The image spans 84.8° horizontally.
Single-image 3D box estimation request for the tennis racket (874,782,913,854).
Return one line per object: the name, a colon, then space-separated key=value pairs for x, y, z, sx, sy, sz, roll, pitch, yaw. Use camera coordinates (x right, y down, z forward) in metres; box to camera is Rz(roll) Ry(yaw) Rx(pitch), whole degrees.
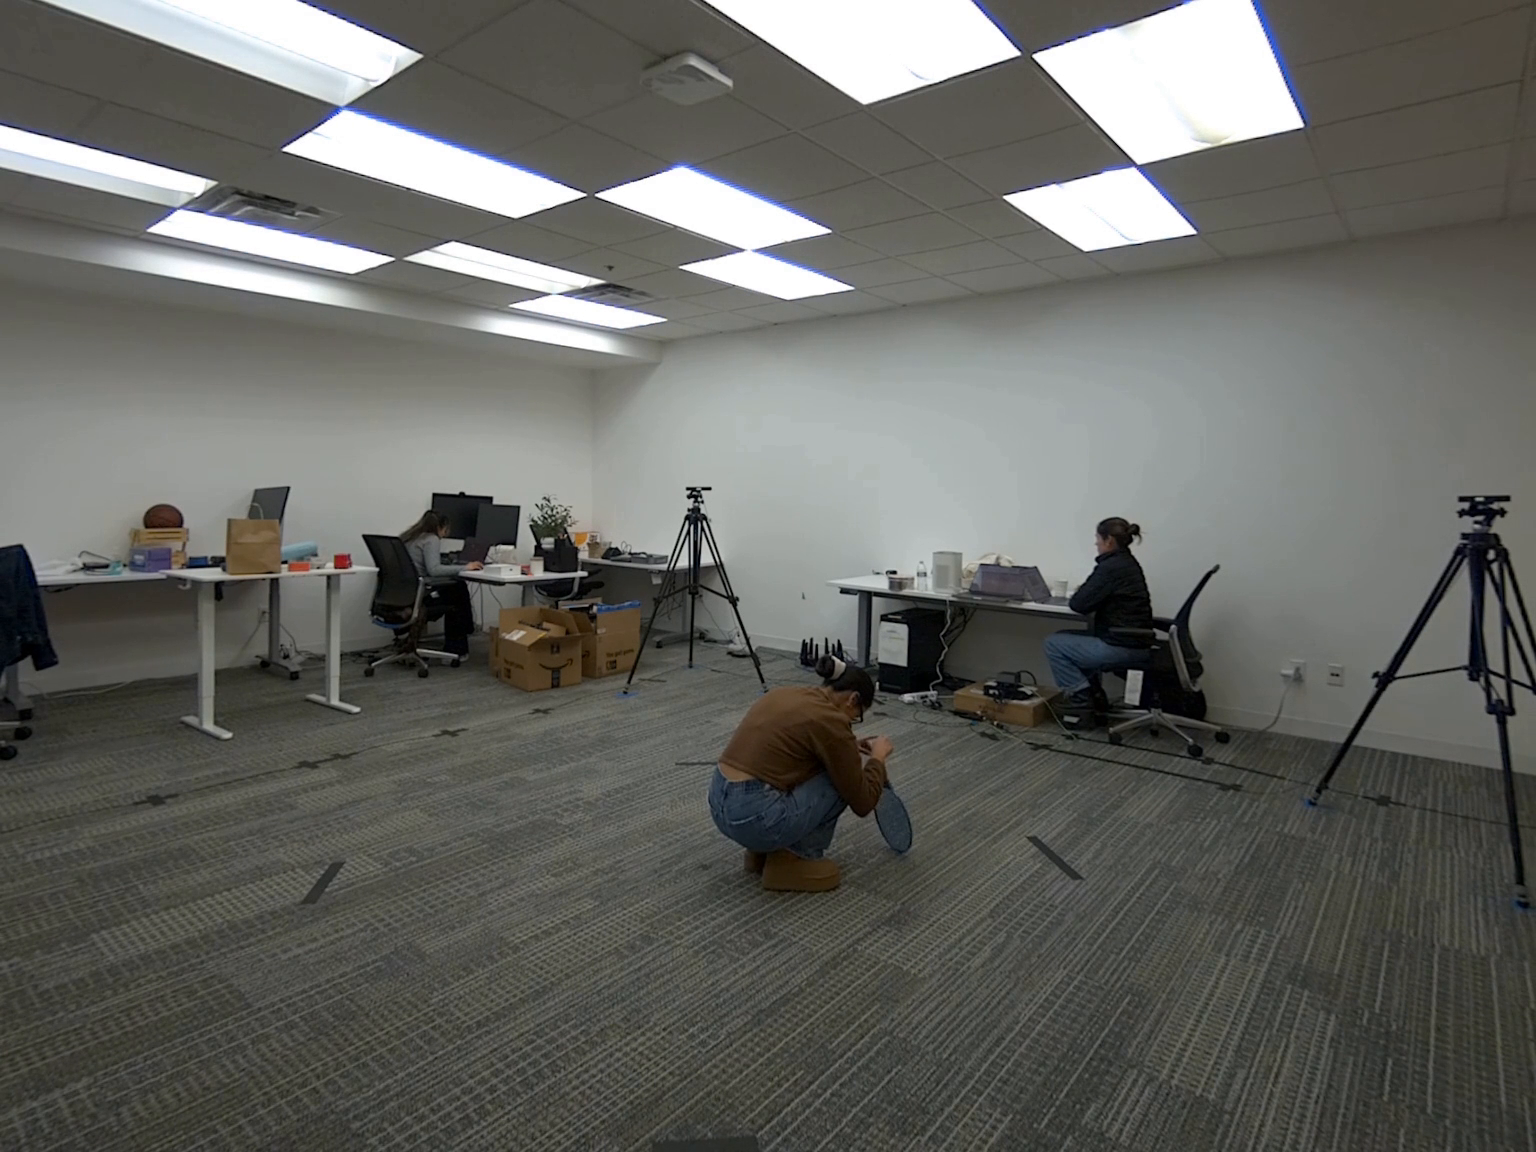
tennis racket: x=0.455 y=0.858 z=3.272 sx=0.031 sy=0.433 sz=0.218 roll=-12 pitch=-1 yaw=-28
